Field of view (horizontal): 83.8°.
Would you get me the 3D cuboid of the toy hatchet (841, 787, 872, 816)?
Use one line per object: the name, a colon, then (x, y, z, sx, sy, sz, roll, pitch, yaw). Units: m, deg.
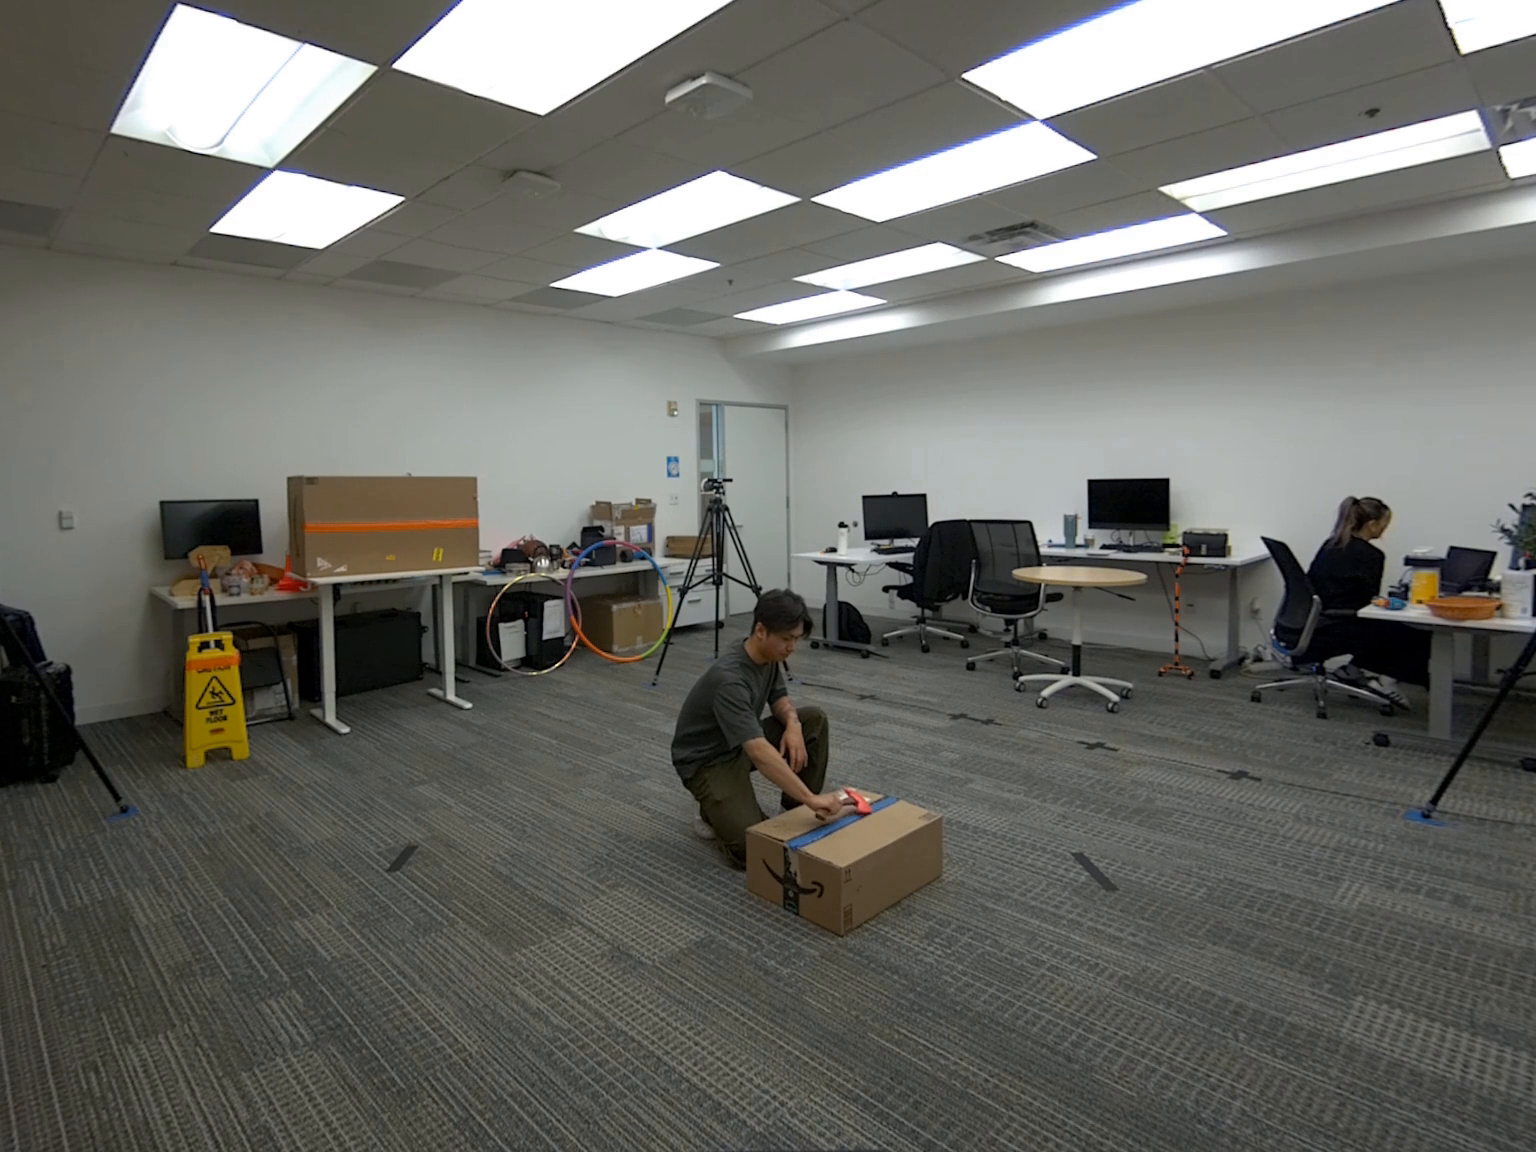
toy hatchet: (0.261, 0.807, 2.938, 0.135, 0.029, 0.265, 26, 20, 24)
